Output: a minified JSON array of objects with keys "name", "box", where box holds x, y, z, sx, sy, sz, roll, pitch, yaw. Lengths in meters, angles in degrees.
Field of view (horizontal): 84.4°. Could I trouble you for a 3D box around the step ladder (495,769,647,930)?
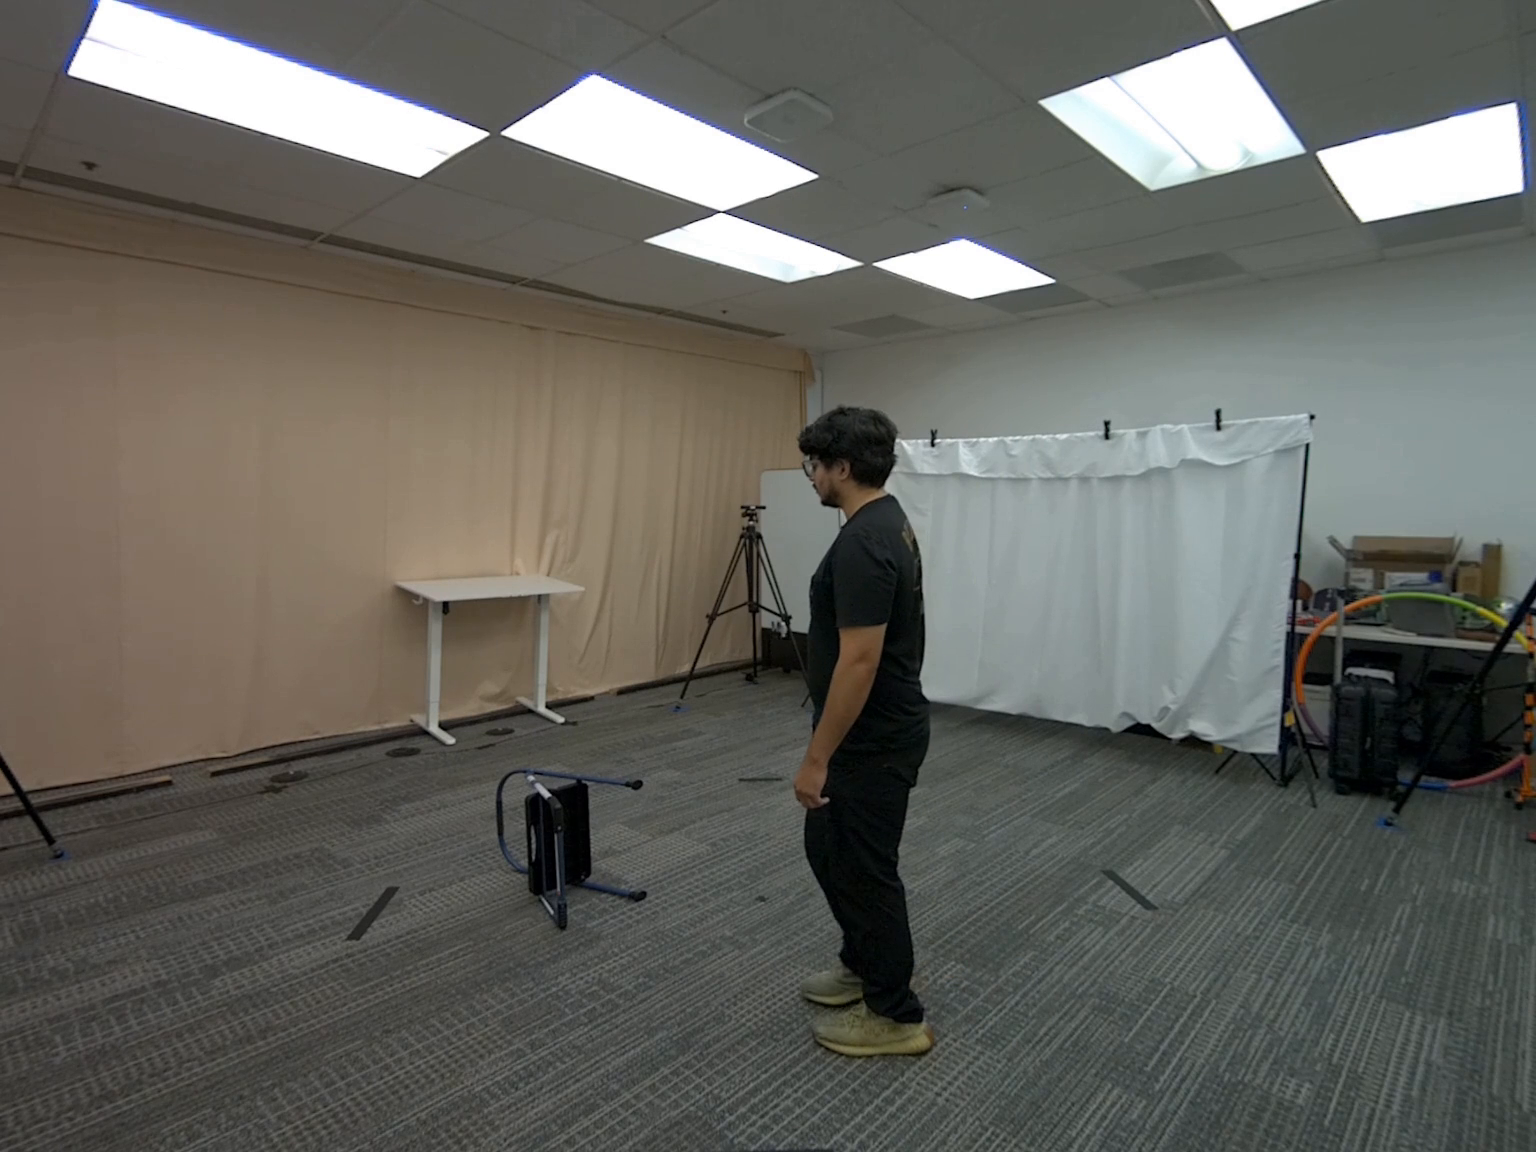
[{"name":"step ladder","box":[-0.773,0.934,3.084,0.338,0.430,0.626,-3,3,-44]}]
